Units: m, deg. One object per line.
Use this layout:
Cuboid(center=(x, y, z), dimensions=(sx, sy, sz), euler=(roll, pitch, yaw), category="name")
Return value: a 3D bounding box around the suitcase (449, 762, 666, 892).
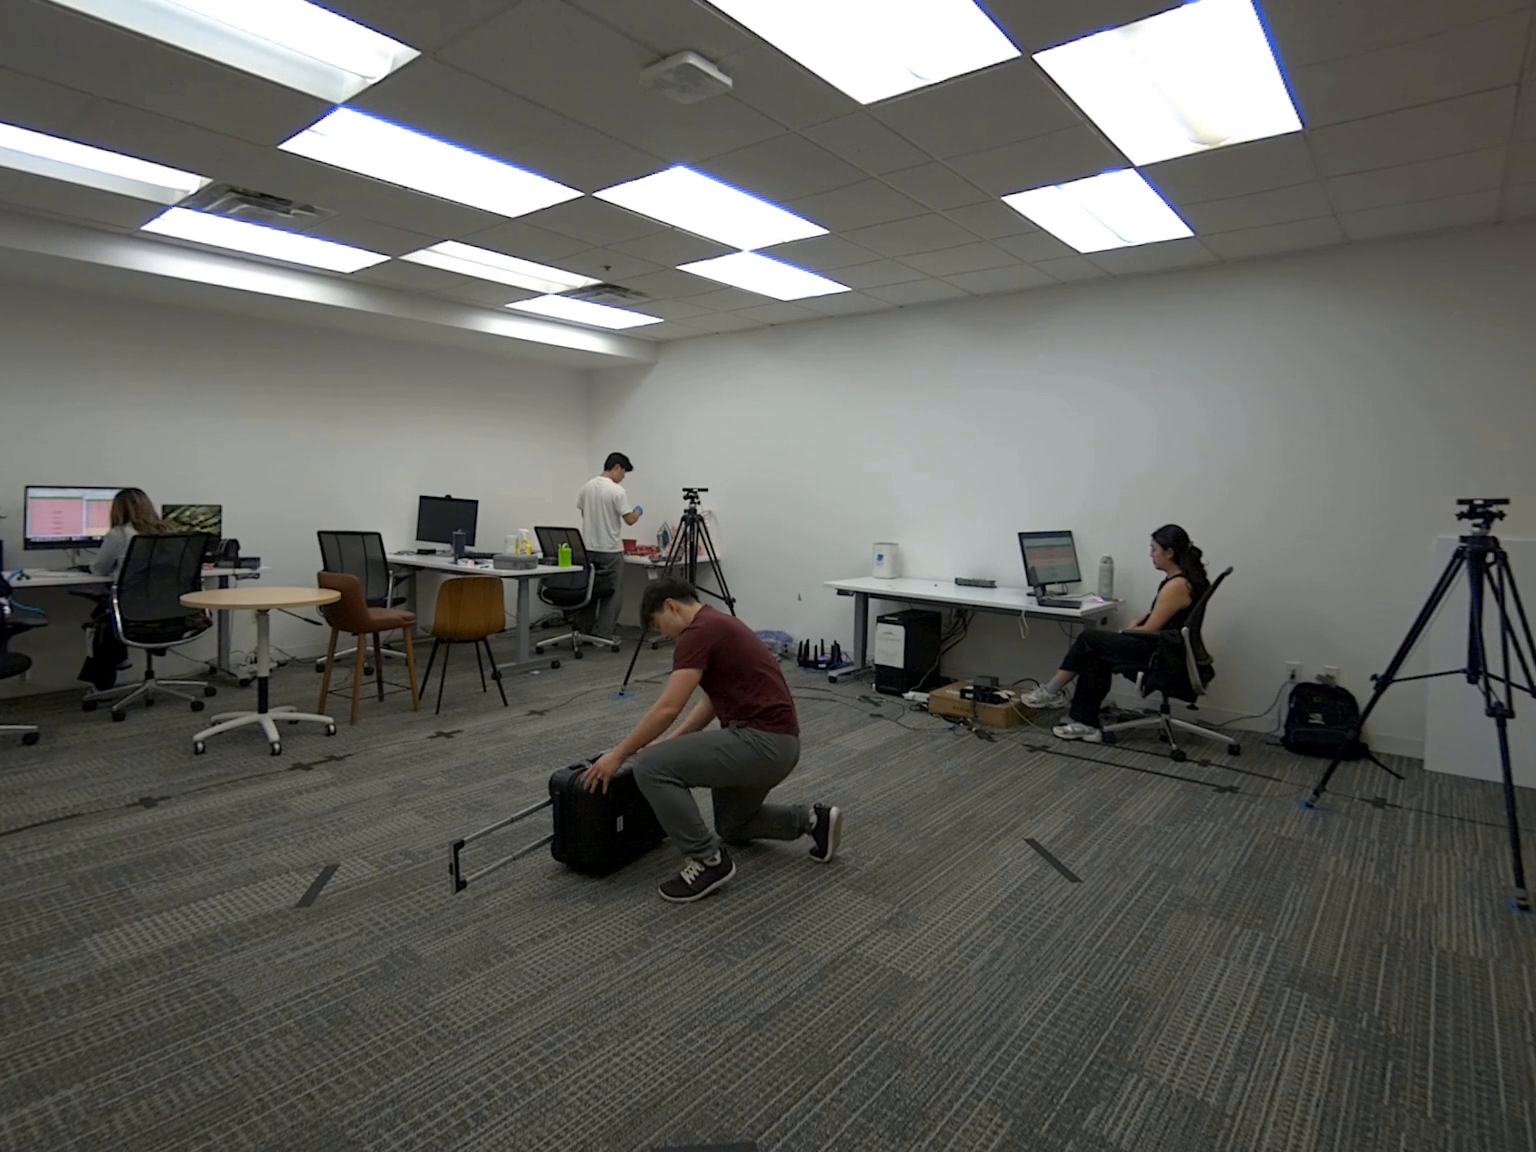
Cuboid(center=(-0.692, 0.880, 3.060), dimensions=(0.264, 0.383, 0.954), euler=(0, 3, 28), category="suitcase")
